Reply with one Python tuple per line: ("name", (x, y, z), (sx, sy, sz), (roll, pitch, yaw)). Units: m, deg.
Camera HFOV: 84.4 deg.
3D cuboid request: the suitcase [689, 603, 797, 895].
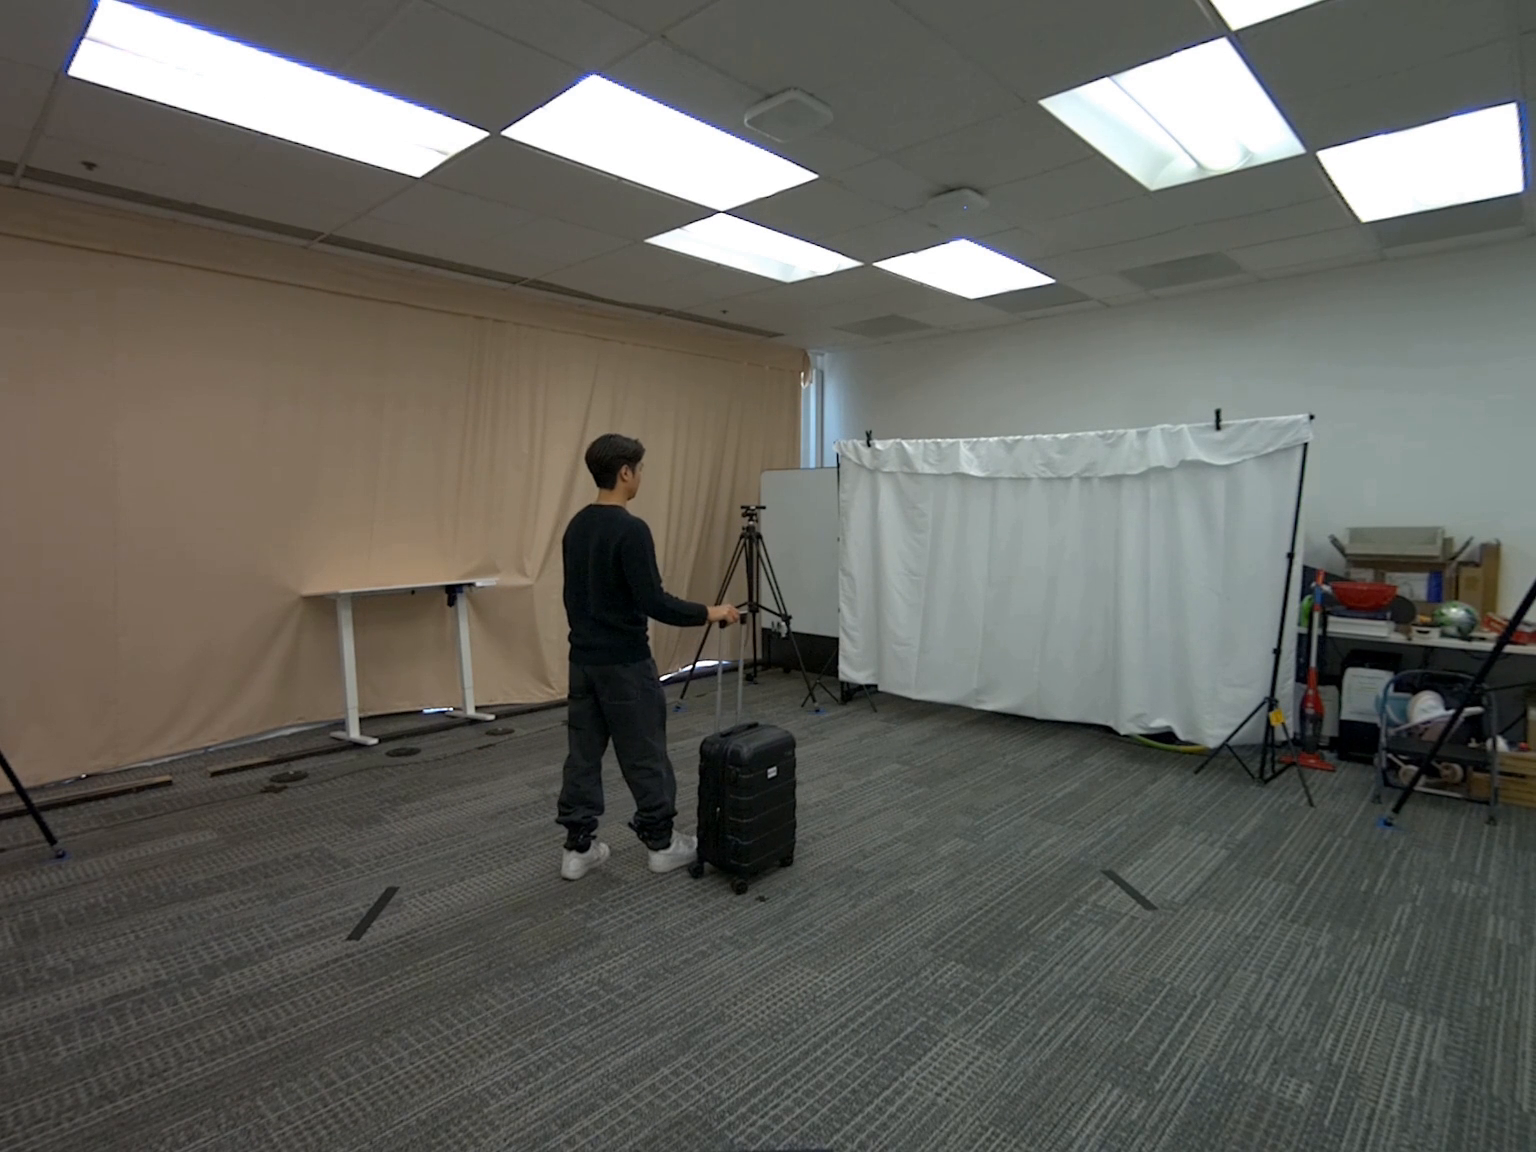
("suitcase", (-0.063, 0.649, 3.180), (0.266, 0.976, 0.372), (7, 5, 40))
